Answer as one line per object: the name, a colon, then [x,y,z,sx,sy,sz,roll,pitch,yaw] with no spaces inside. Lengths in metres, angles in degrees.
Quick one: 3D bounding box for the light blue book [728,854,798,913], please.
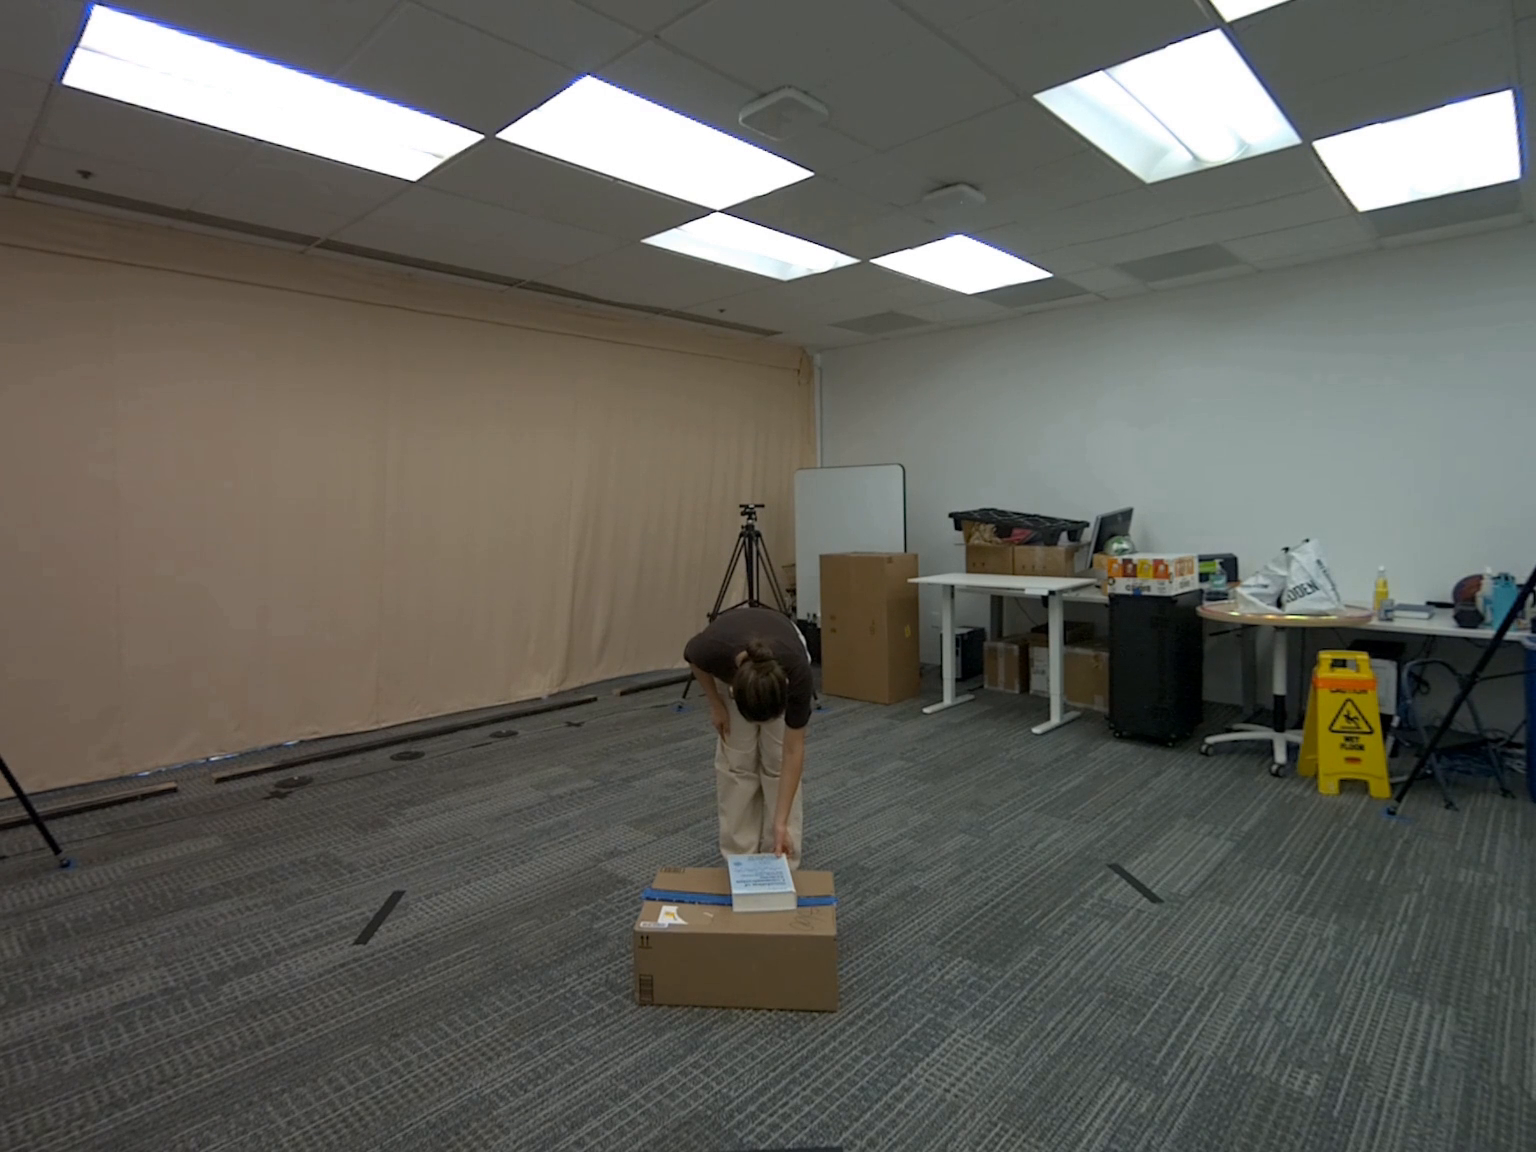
light blue book: [-0.021,0.929,2.583,0.191,0.059,0.262,-2,6,-3]
